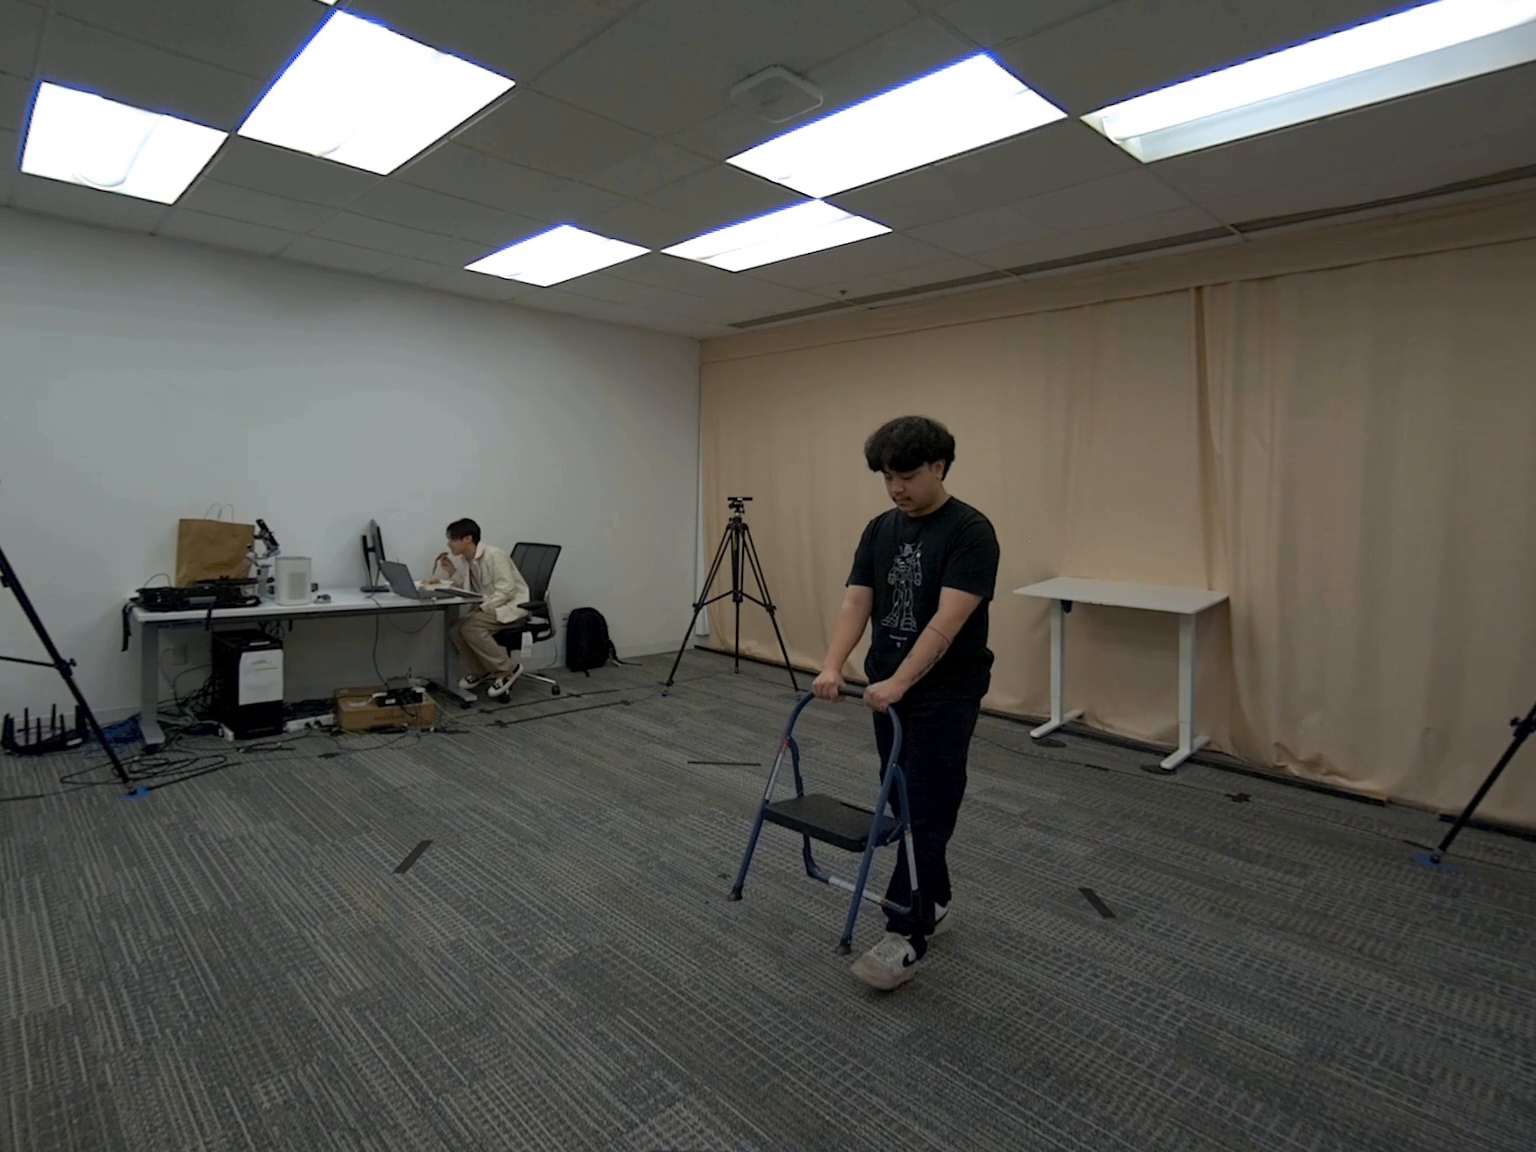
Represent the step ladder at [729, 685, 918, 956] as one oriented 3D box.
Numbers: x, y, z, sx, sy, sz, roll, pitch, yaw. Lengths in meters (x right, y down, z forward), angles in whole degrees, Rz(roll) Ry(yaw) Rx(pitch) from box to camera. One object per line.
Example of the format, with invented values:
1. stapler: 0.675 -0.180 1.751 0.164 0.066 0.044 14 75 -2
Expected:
1. step ladder: 0.171 0.633 2.335 0.340 0.606 0.441 4 0 -44
